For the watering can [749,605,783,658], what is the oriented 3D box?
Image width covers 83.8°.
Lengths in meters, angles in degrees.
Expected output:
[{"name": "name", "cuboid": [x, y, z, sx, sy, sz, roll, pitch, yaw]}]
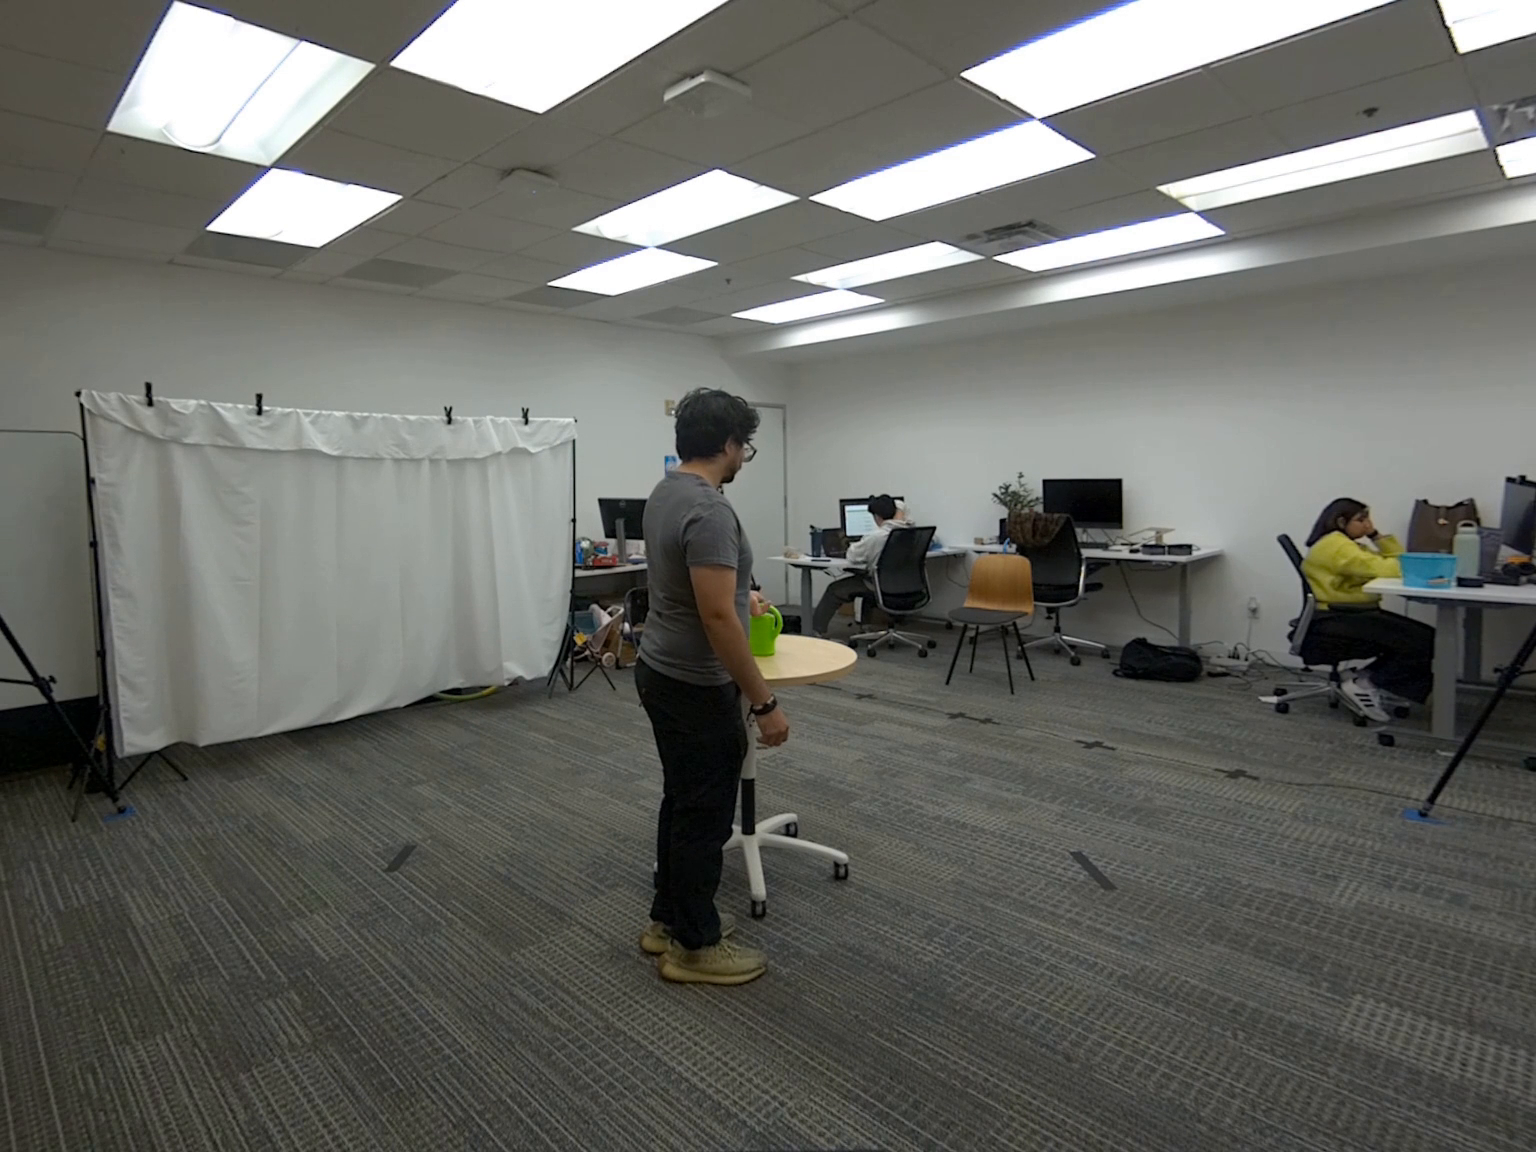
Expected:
[{"name": "watering can", "cuboid": [-0.060, 0.181, 3.017, 0.287, 0.176, 0.095, 5, 4, 41]}]
